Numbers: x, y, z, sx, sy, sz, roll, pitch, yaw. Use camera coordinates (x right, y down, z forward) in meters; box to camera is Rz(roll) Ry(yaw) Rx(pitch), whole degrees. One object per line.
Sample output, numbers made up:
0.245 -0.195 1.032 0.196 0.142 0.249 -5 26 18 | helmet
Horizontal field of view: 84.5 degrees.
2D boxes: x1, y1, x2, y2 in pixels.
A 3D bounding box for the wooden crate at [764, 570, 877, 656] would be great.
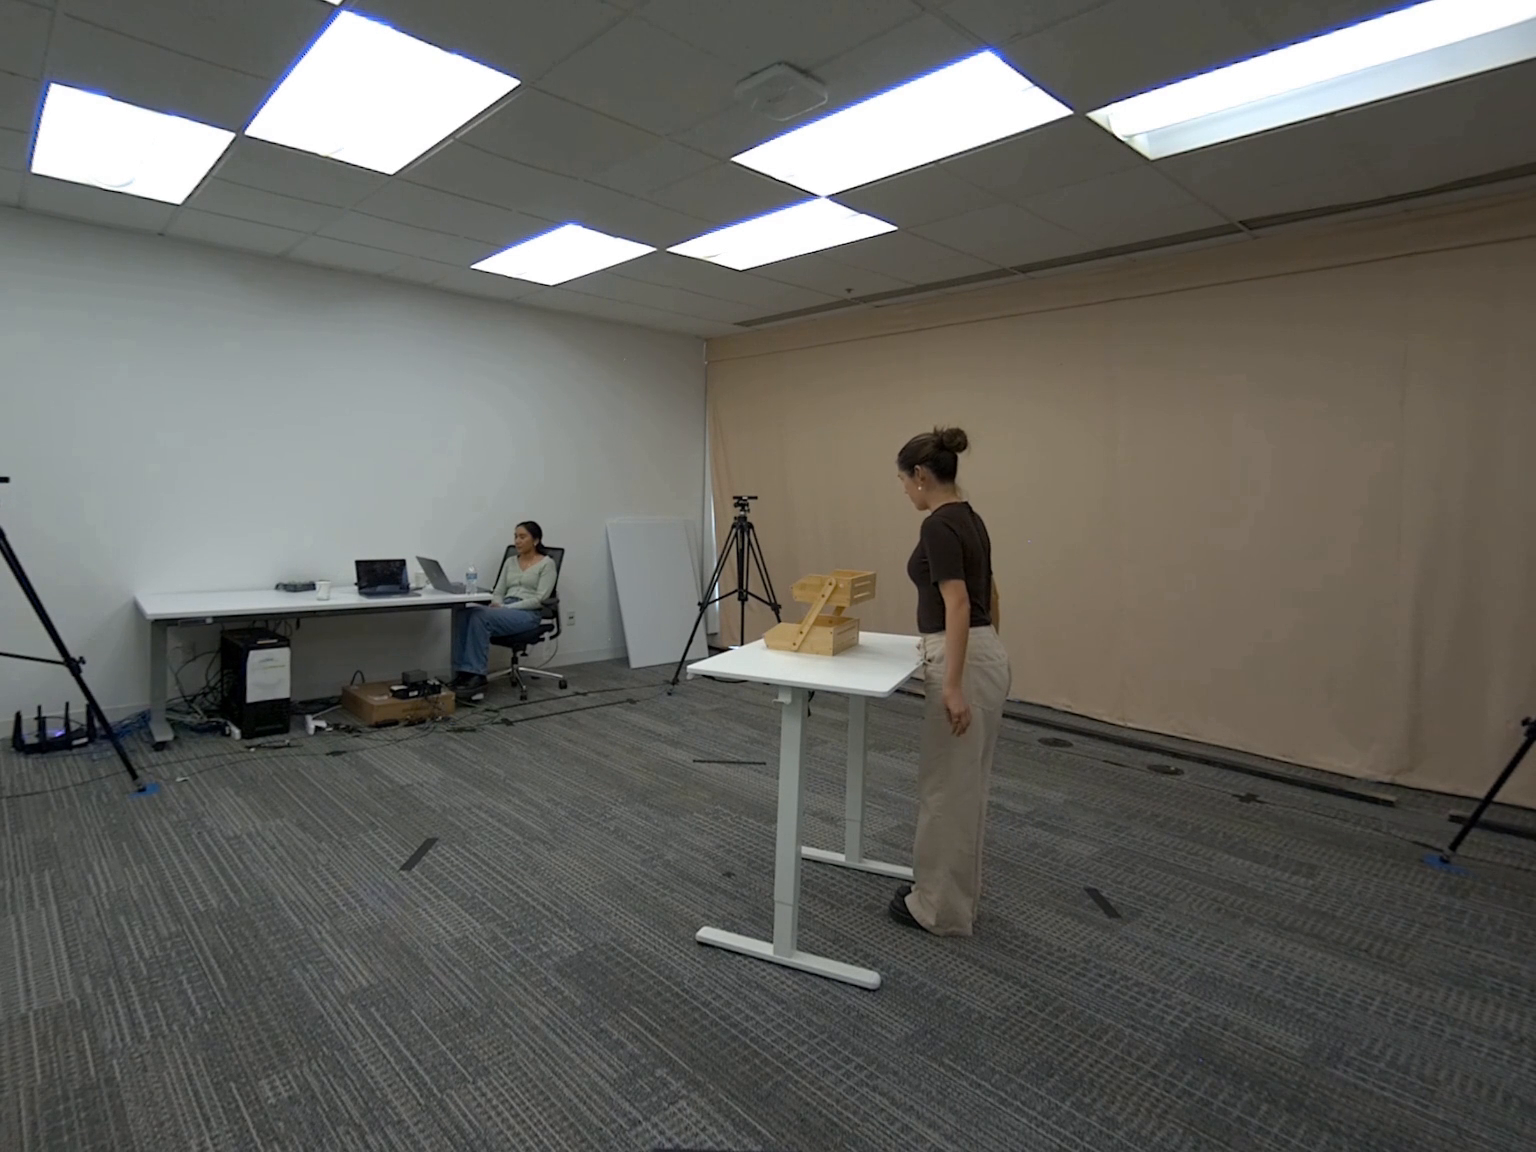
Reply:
0.177 0.113 2.905 0.308 0.272 0.319 5 5 24 | wooden crate
